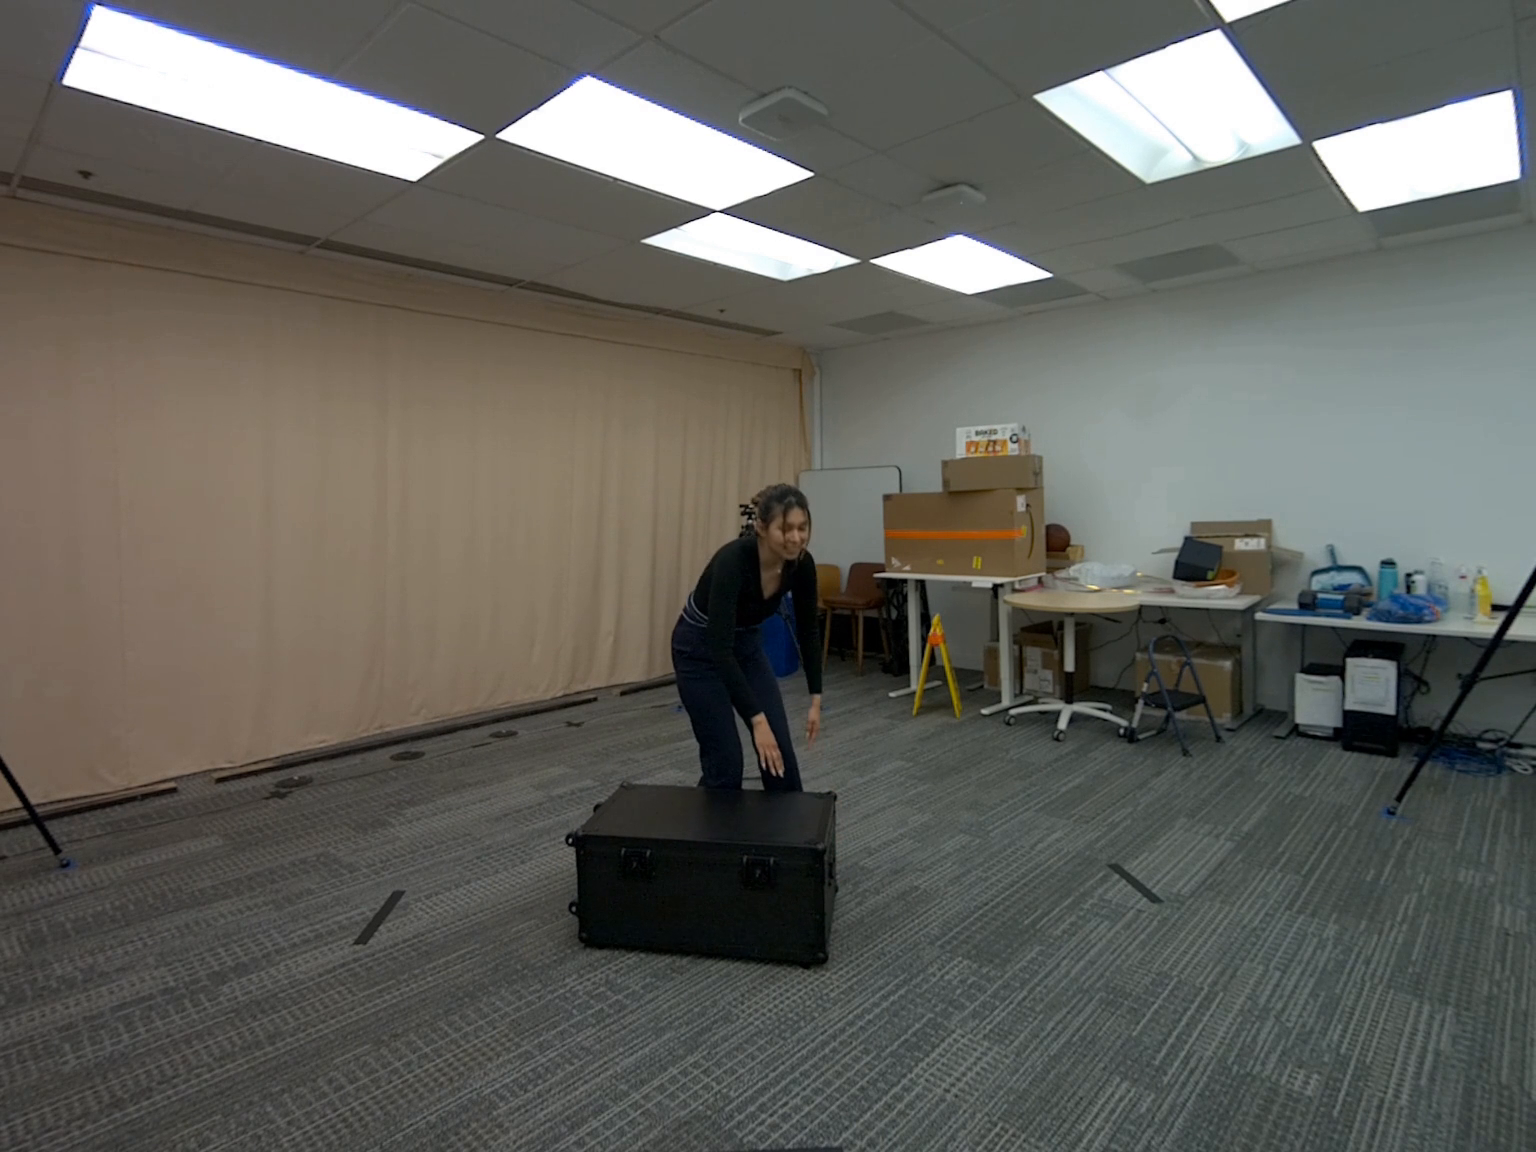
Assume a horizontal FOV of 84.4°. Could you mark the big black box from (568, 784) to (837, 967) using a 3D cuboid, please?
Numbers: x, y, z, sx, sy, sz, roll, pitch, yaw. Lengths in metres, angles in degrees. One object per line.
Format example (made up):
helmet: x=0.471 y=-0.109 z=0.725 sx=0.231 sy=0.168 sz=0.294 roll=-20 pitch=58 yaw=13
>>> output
big black box: x=-0.212 y=0.960 z=2.812 sx=0.872 sy=0.395 sz=0.516 roll=0 pitch=5 yaw=11
